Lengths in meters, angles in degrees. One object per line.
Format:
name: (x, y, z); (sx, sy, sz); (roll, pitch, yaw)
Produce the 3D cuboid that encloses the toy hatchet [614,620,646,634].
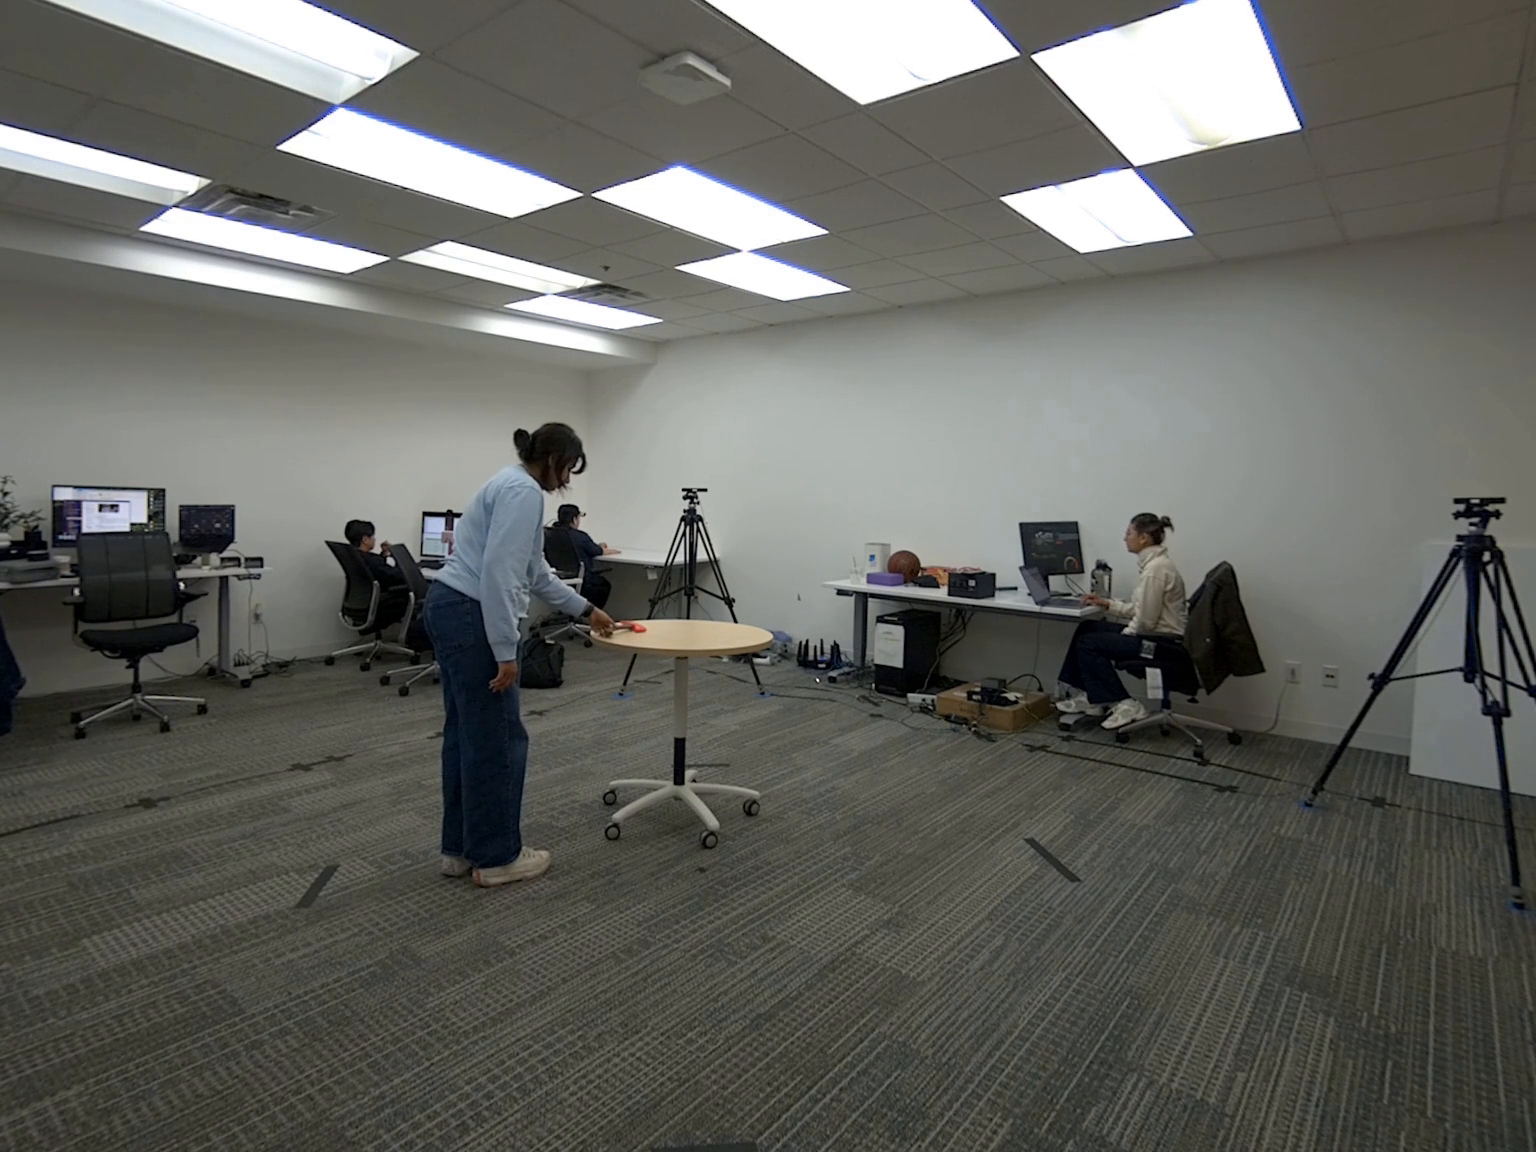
toy hatchet: (-0.606, 0.218, 3.525); (0.132, 0.029, 0.268); (13, 6, 7)
